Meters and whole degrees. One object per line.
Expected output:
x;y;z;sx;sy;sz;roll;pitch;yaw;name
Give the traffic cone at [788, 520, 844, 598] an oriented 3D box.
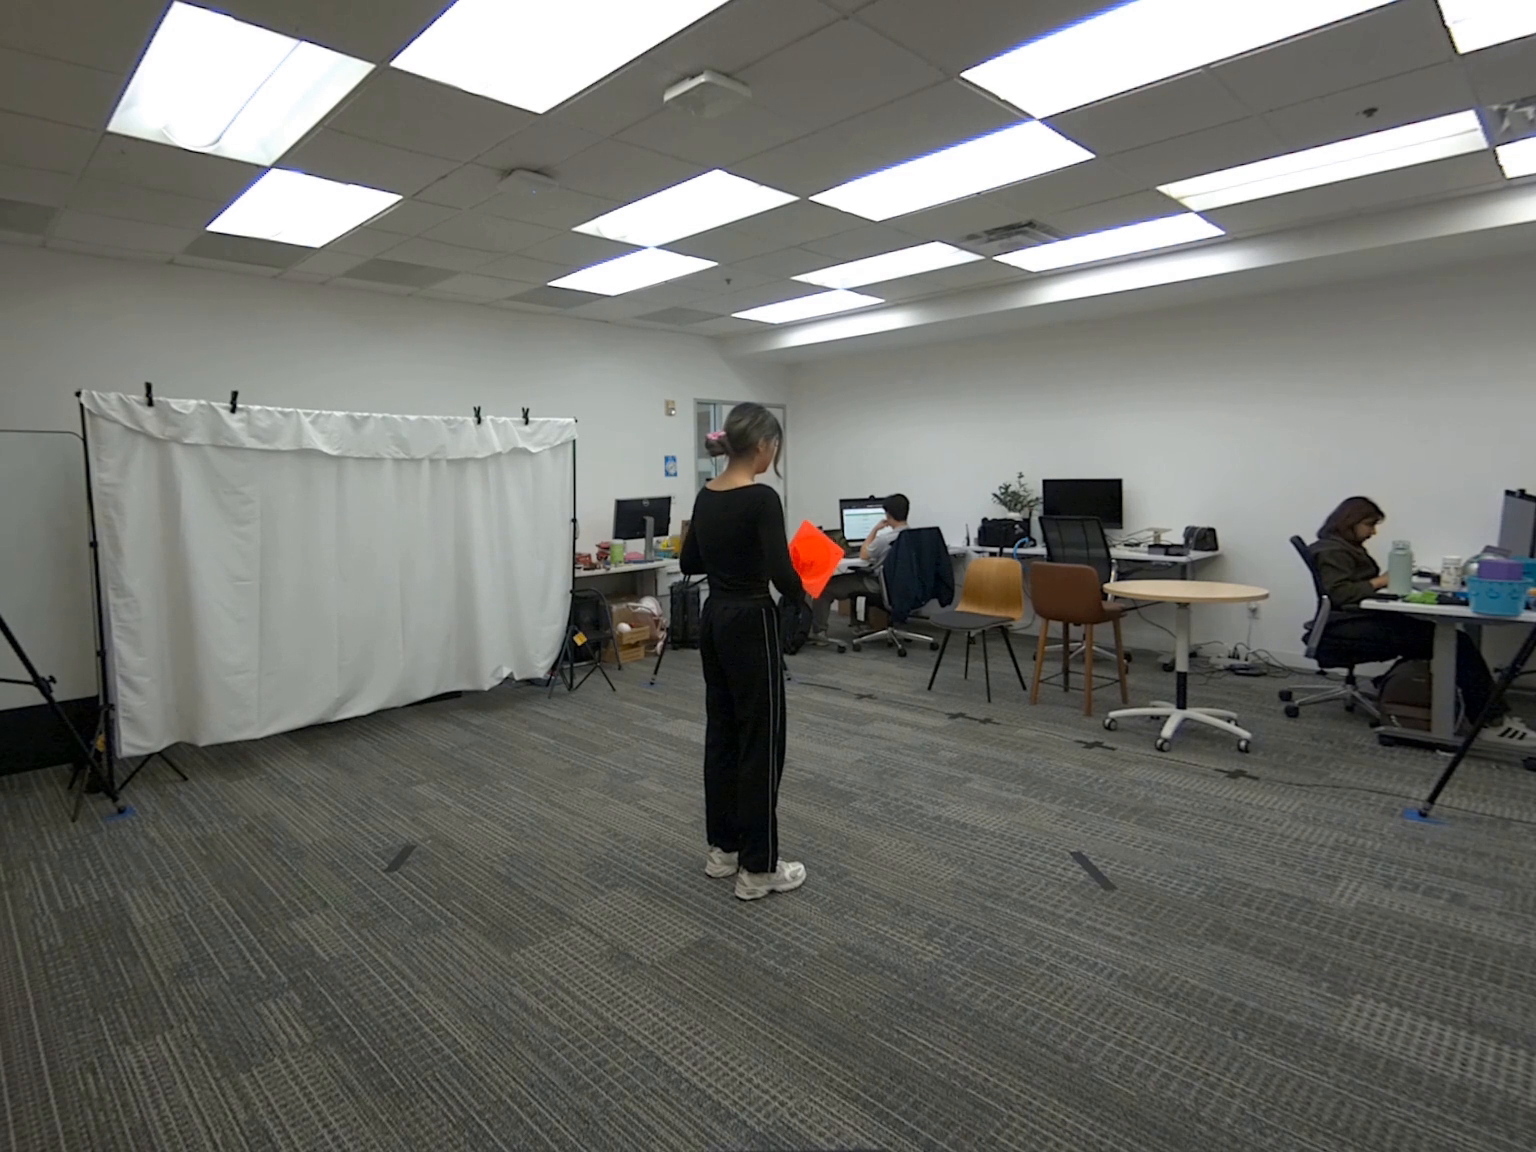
0.065;-0.074;3.081;0.199;0.204;0.393;38;-11;-23;traffic cone
